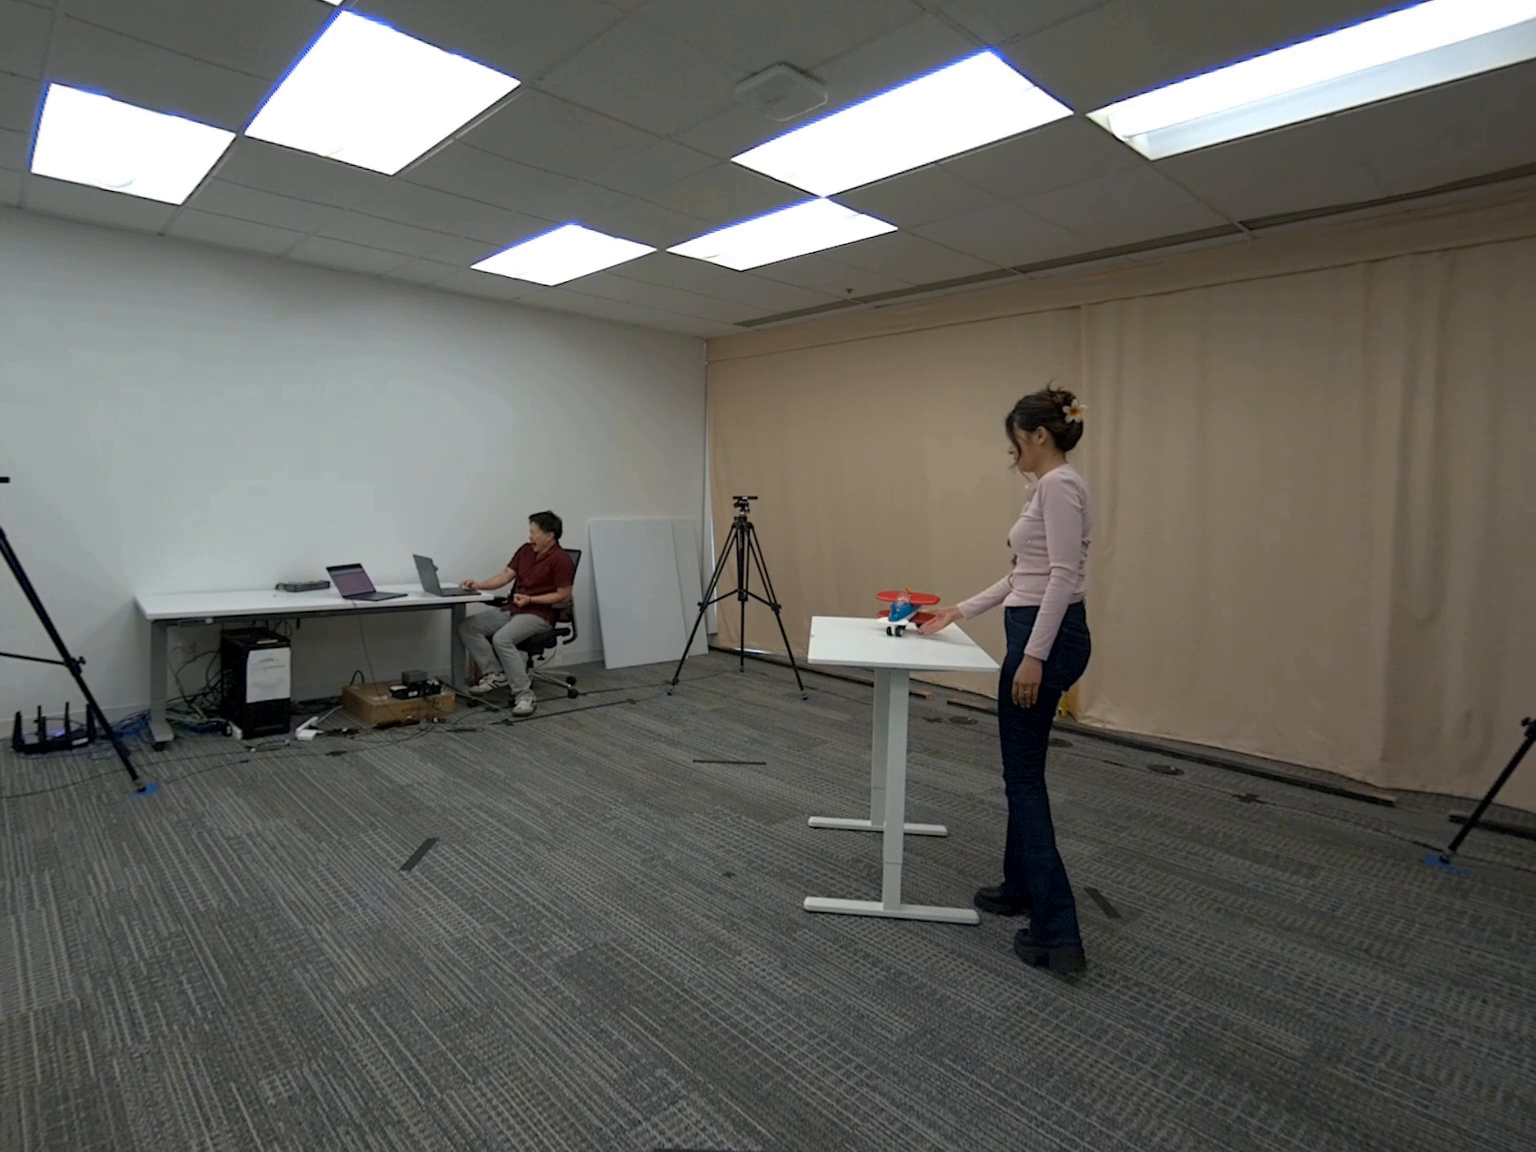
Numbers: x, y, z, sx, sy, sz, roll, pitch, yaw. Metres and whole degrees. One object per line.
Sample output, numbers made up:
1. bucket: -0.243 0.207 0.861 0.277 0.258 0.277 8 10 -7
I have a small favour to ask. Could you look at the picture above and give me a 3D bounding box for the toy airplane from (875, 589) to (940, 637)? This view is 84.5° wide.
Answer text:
1. toy airplane: 0.540 0.146 3.268 0.252 0.156 0.259 2 4 4
